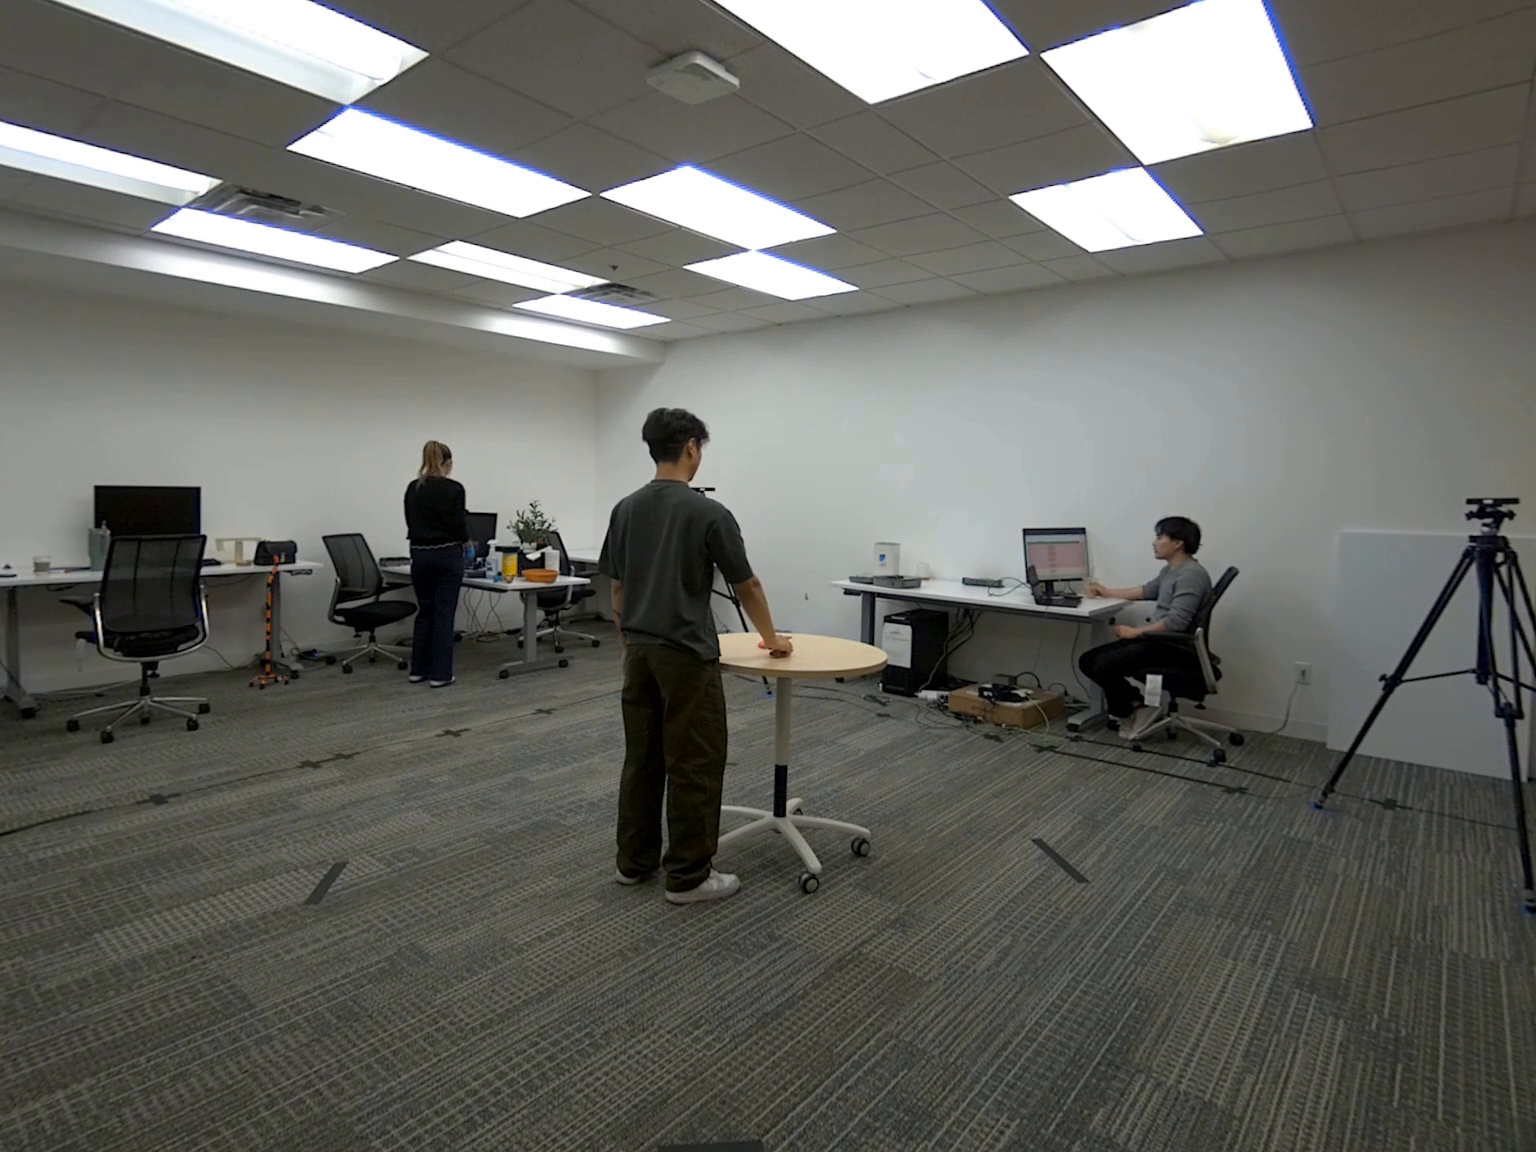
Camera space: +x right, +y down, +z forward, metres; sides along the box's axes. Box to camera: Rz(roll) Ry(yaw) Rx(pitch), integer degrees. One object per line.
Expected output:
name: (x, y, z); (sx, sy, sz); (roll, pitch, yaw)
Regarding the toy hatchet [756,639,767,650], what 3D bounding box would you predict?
toy hatchet: (0.000, 0.260, 3.181); (0.133, 0.029, 0.267); (-7, 4, 14)
